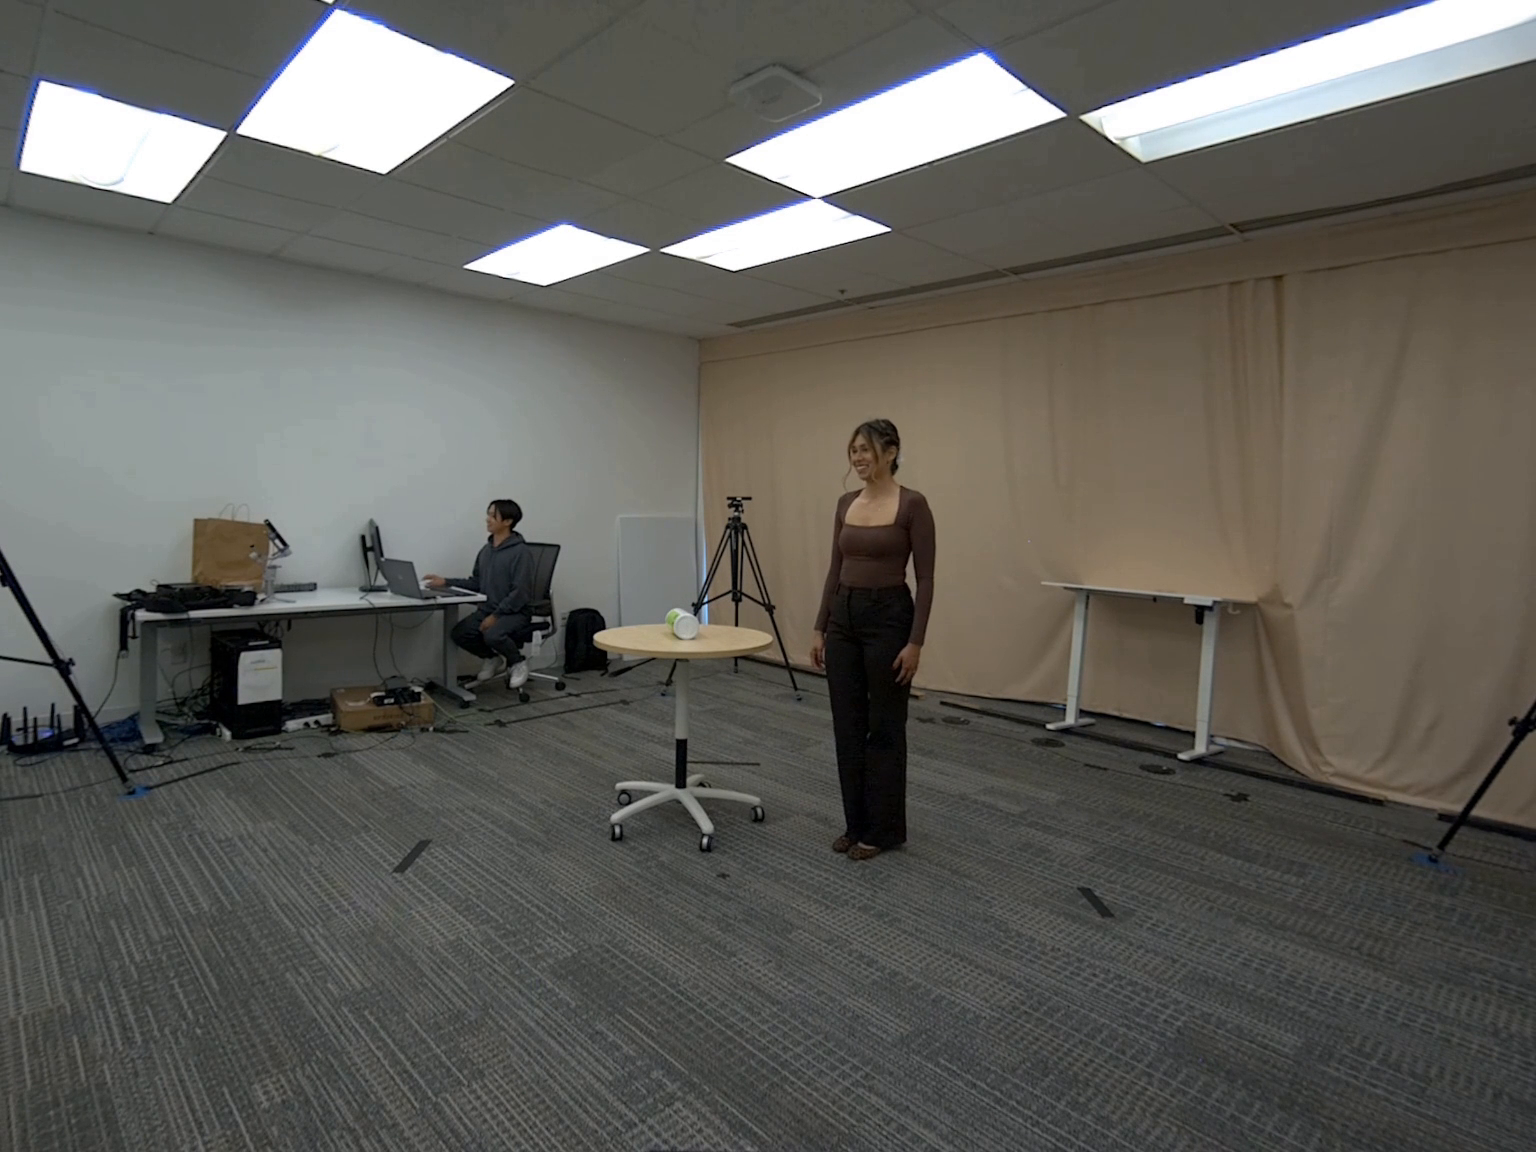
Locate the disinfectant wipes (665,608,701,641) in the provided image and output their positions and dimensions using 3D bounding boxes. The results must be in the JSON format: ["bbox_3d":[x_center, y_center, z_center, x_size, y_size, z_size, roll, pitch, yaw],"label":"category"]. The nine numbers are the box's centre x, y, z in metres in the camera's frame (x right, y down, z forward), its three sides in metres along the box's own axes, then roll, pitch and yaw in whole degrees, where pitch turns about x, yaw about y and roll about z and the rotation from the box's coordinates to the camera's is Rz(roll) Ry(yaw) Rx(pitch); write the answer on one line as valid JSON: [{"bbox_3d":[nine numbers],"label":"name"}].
[{"bbox_3d":[-0.363,0.206,3.615,0.116,0.117,0.220,1,3,-13],"label":"disinfectant wipes"}]
